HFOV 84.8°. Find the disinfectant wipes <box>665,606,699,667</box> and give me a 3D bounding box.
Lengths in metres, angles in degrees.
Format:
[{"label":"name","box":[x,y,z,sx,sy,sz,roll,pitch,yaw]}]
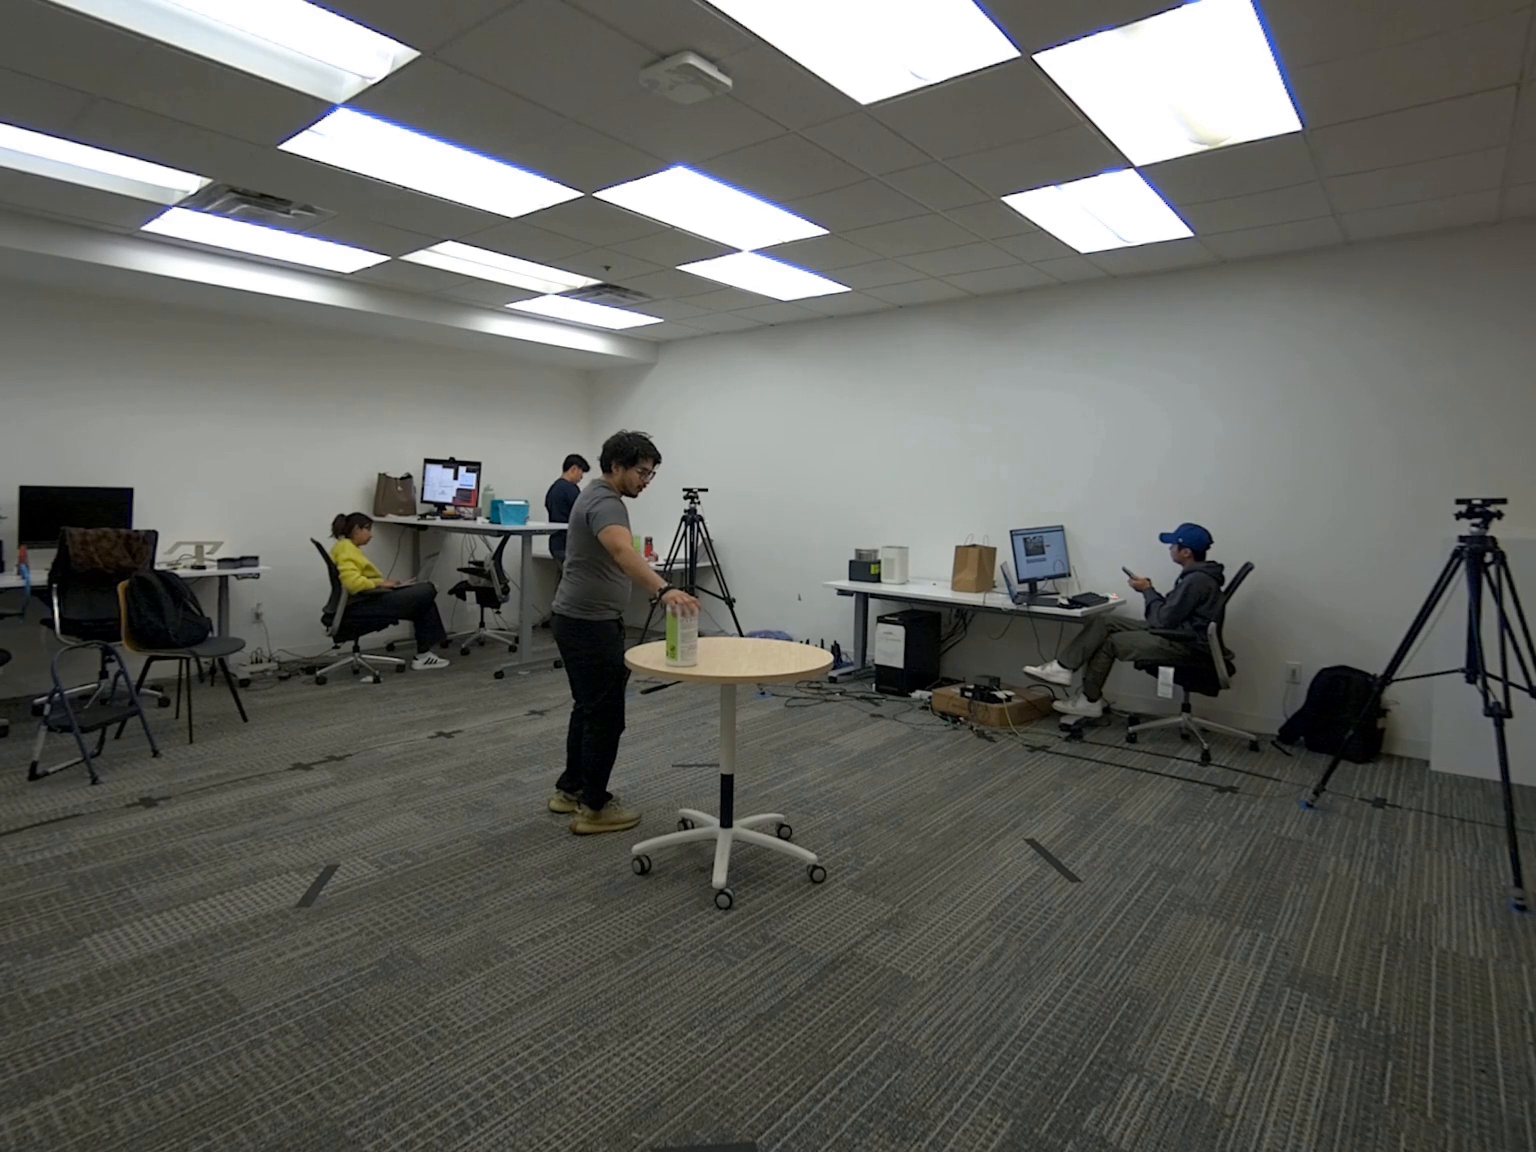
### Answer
[{"label":"disinfectant wipes","box":[-0.306,0.196,2.939,0.118,0.217,0.118,-2,3,-2]}]
